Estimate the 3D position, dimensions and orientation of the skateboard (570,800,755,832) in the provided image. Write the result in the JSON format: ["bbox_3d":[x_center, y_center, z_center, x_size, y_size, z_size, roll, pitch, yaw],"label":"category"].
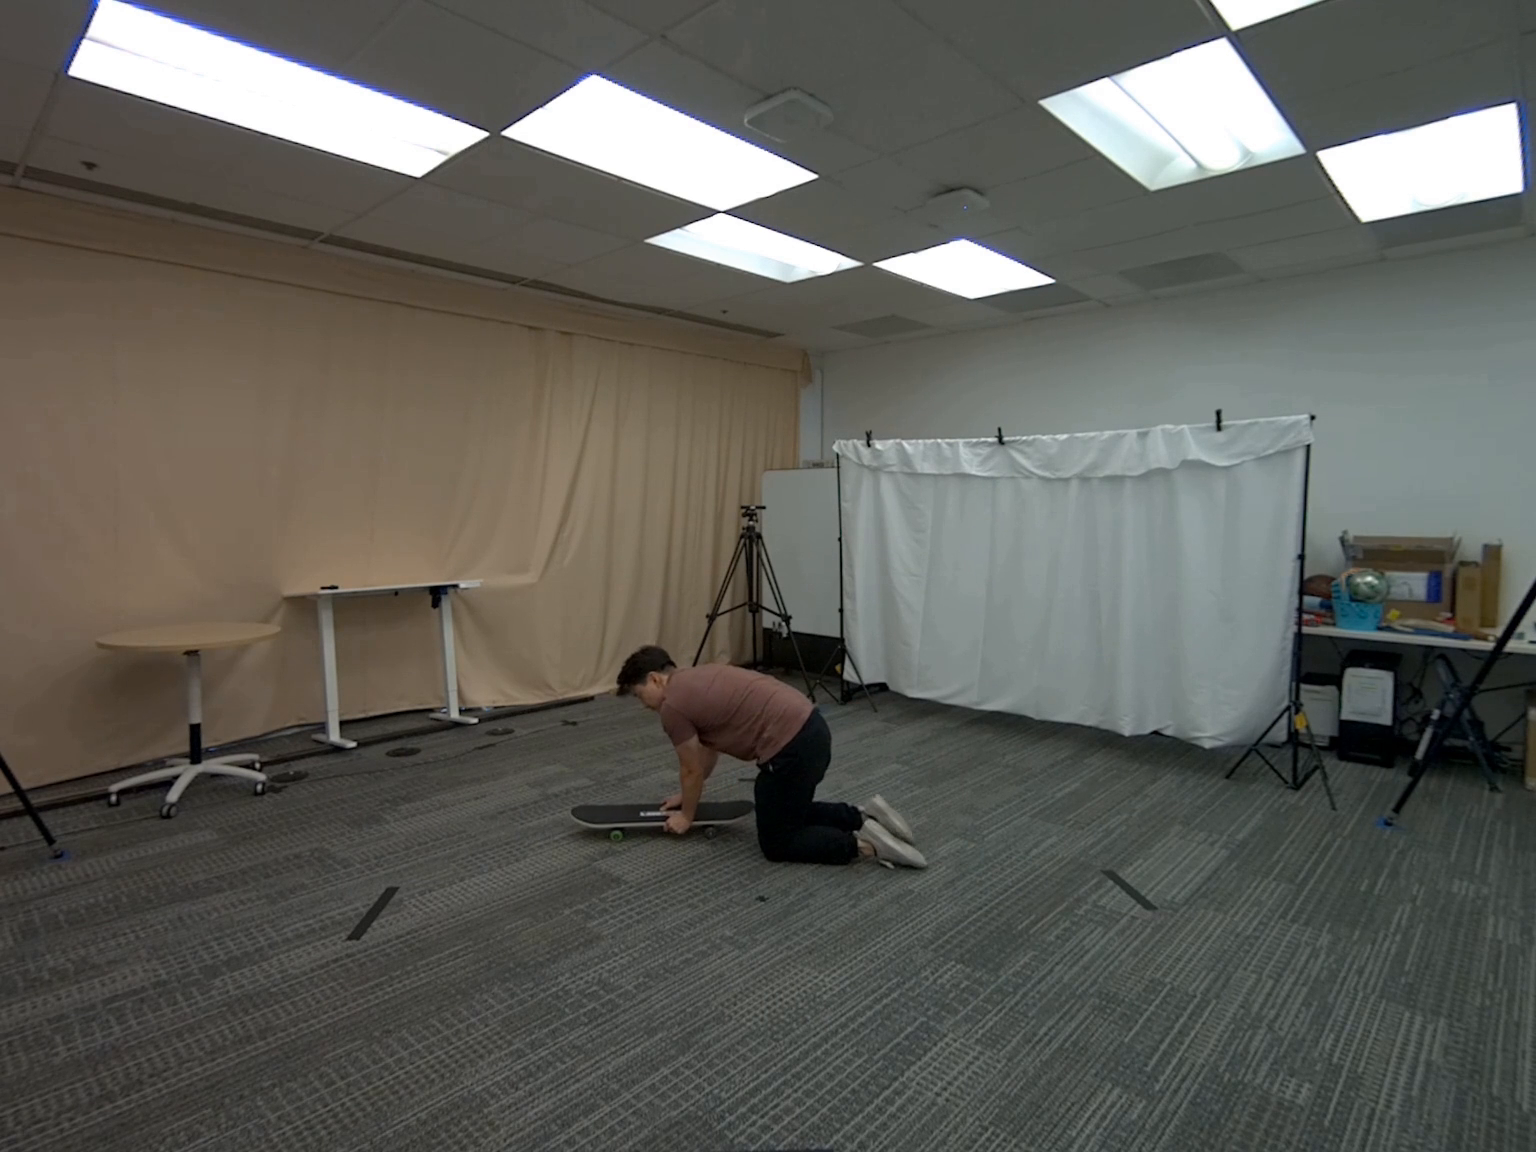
[{"bbox_3d":[-0.443,1.046,3.592,0.782,0.110,0.195,-1,8,-4],"label":"skateboard"}]
